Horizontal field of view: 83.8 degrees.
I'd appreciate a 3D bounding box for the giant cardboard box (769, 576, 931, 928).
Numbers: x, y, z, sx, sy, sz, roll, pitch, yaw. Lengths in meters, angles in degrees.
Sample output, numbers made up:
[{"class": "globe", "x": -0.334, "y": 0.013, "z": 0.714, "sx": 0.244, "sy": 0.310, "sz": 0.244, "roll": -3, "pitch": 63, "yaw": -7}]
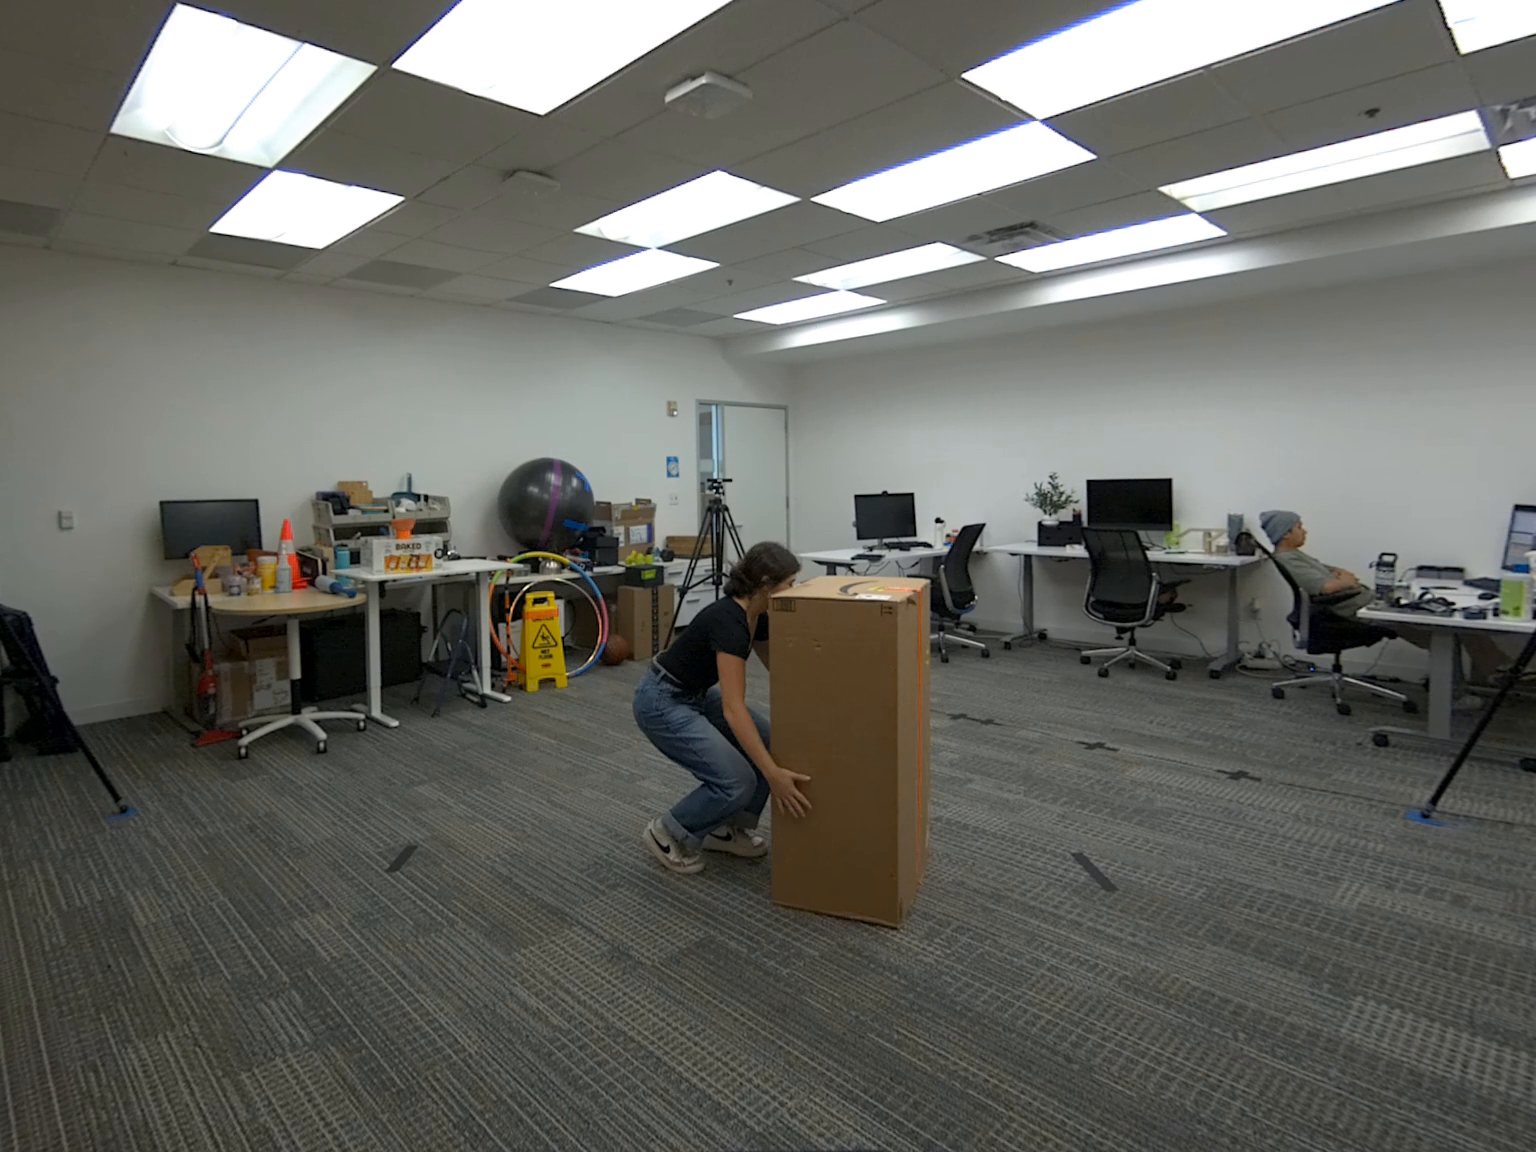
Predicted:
[{"class": "giant cardboard box", "x": 0.301, "y": 0.546, "z": 2.945, "sx": 0.435, "sy": 1.022, "sz": 0.568, "roll": 1, "pitch": 5, "yaw": 21}]
